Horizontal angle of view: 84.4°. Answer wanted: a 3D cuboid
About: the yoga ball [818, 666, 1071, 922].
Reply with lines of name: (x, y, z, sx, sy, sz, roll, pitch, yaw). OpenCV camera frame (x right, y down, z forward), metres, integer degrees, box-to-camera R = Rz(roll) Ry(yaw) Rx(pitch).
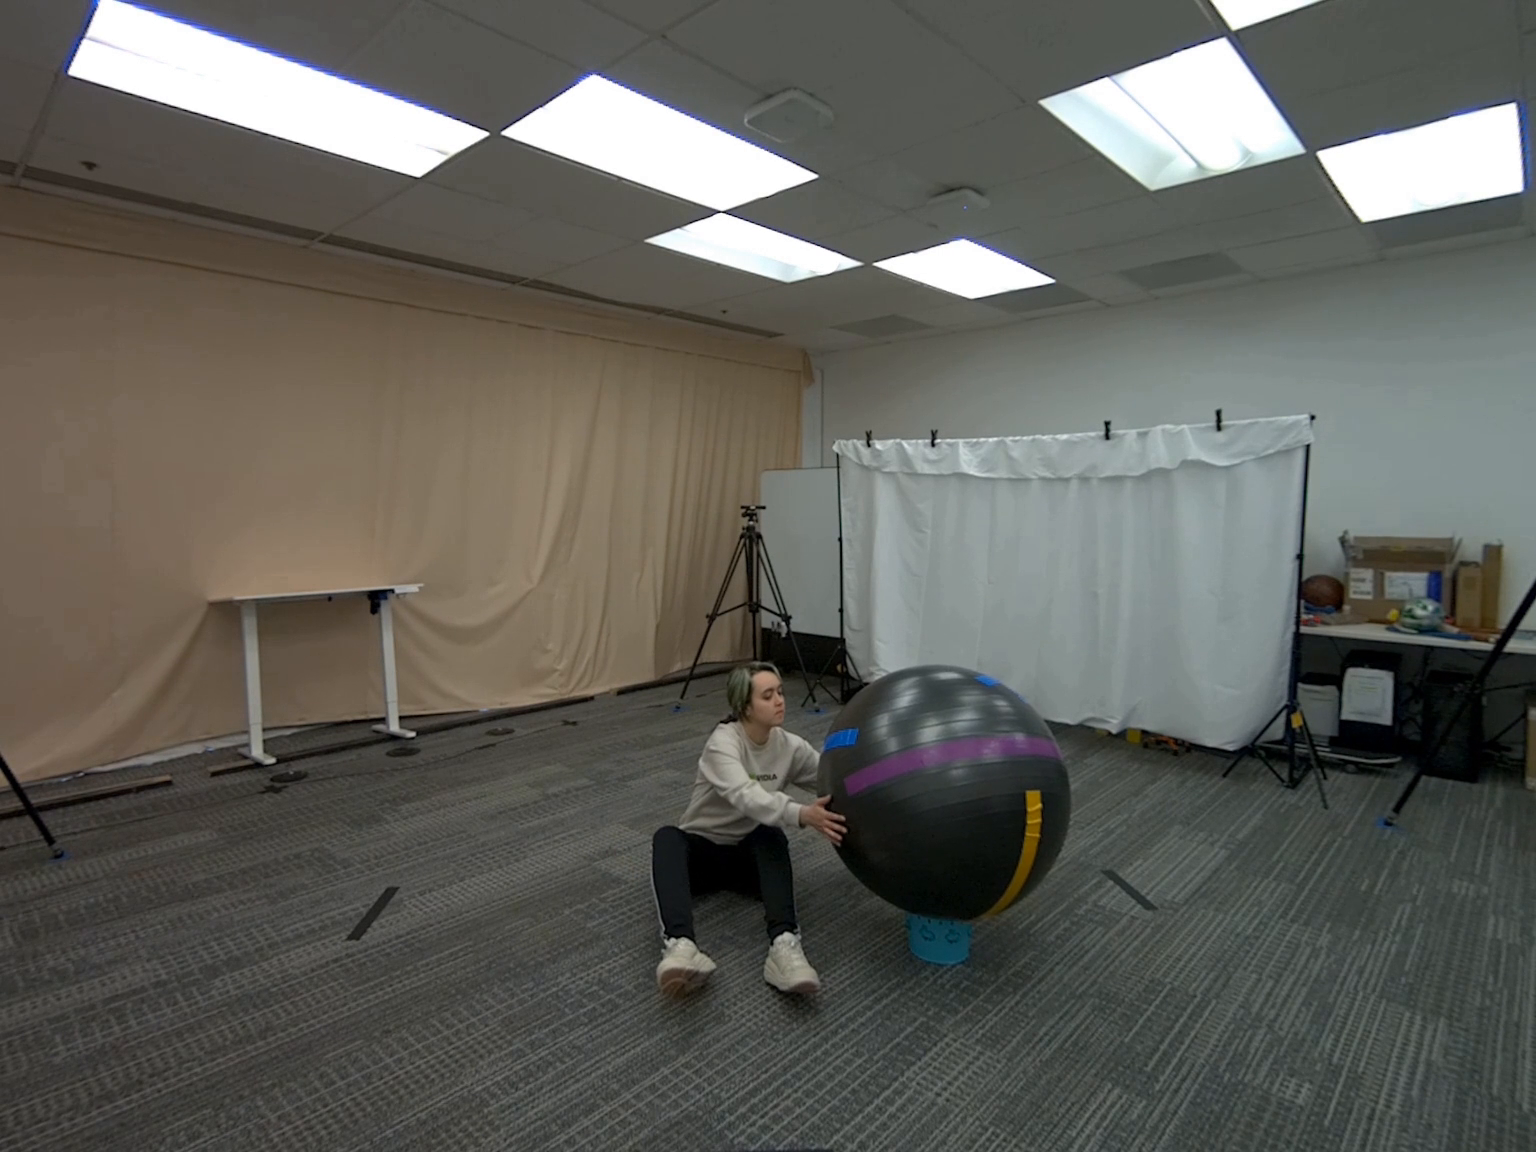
yoga ball: (0.539, 0.667, 2.619, 0.757, 0.756, 0.761, 0, 4, -2)
